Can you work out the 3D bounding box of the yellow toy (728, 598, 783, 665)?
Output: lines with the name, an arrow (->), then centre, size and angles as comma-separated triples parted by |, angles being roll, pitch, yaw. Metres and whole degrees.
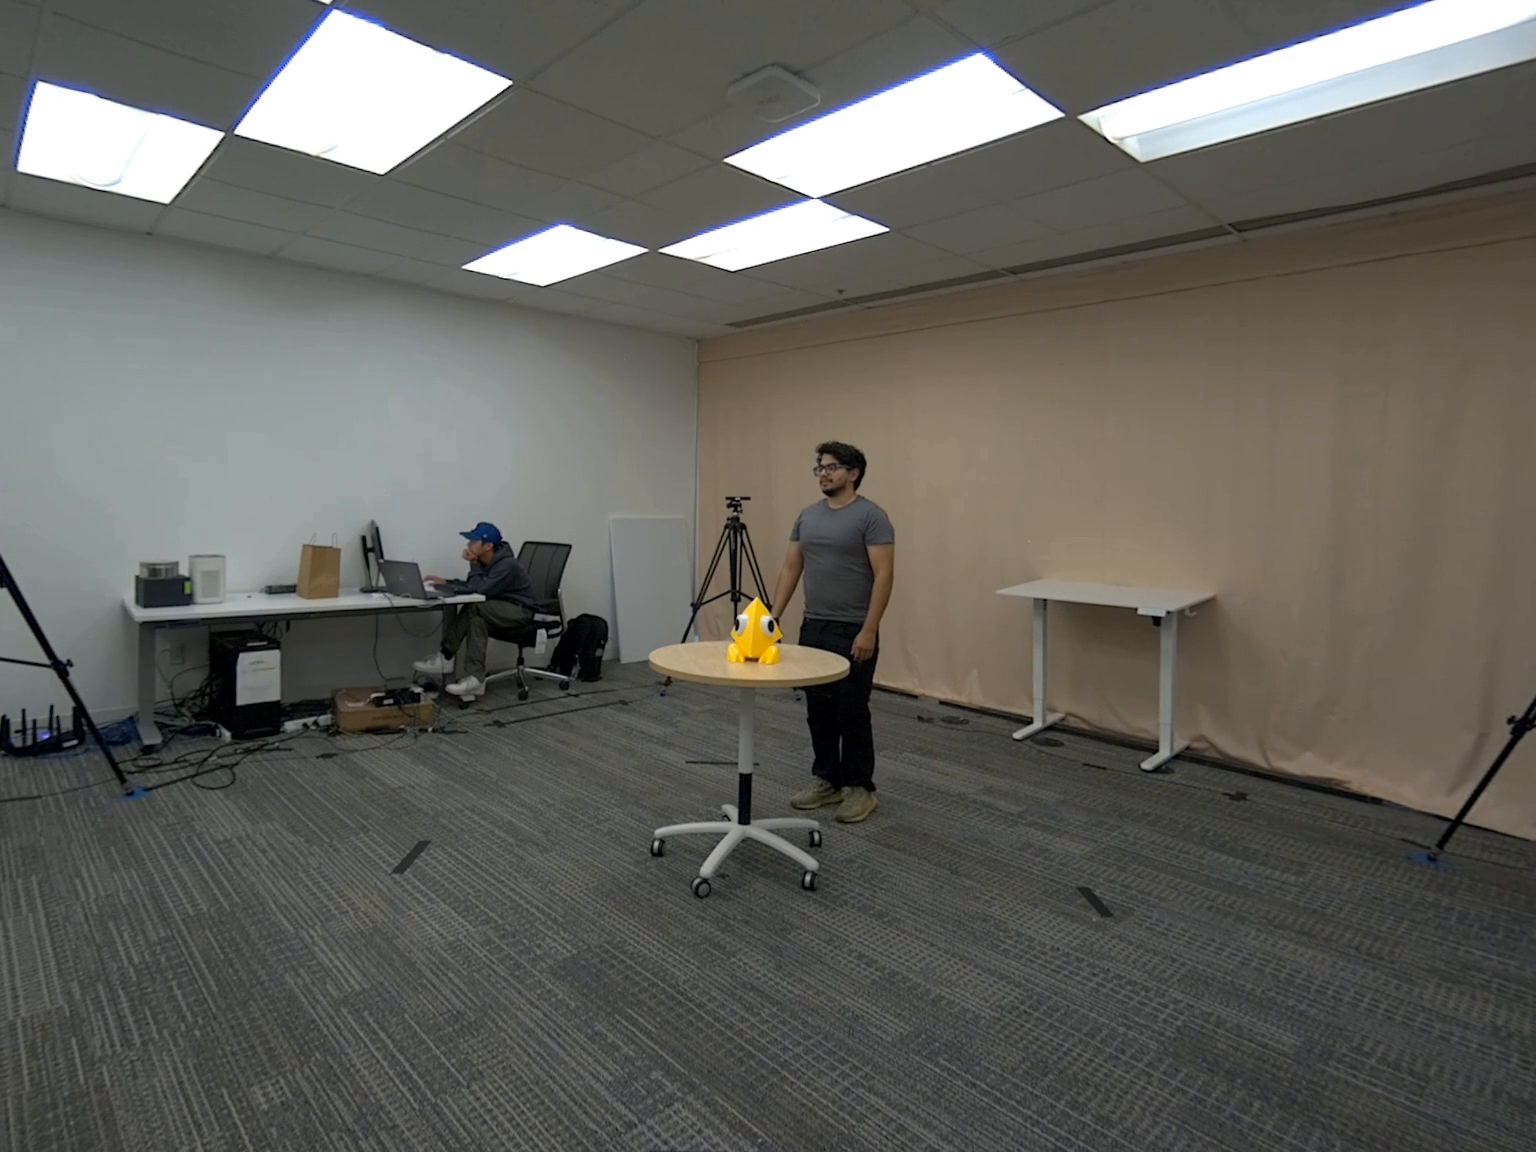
yellow toy -> -0.060, 0.203, 3.194 | 0.206, 0.230, 0.192 | 3, 4, 7
